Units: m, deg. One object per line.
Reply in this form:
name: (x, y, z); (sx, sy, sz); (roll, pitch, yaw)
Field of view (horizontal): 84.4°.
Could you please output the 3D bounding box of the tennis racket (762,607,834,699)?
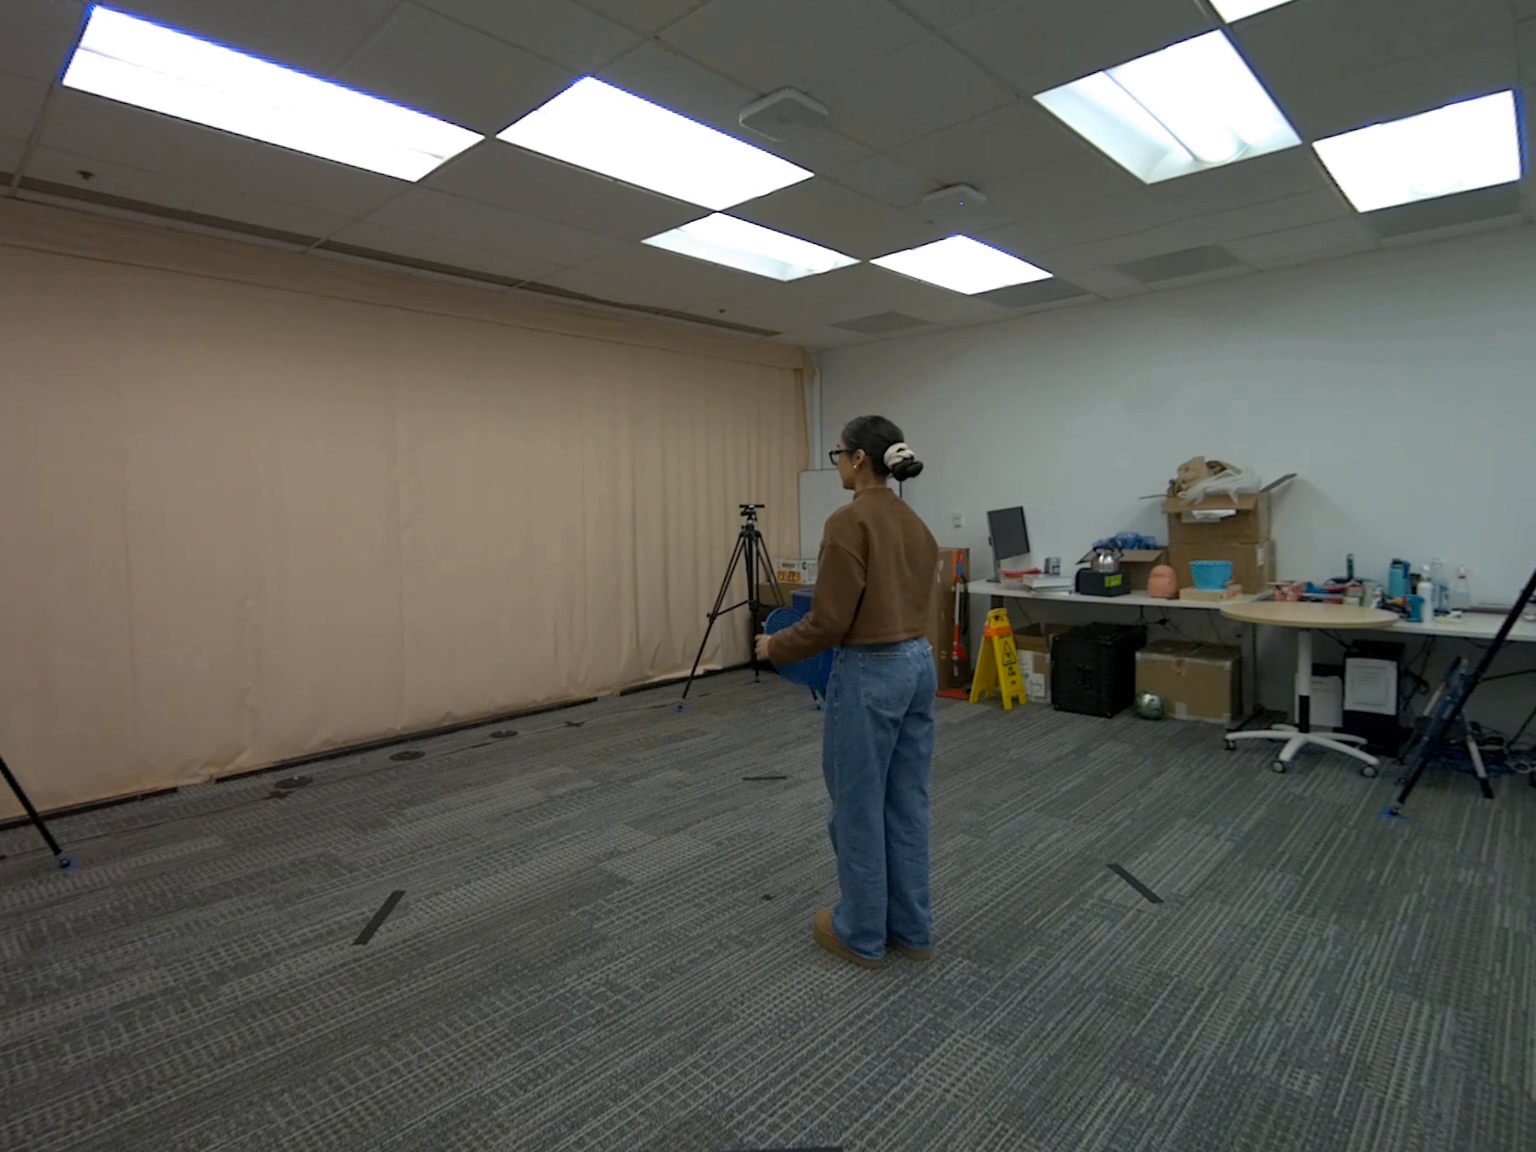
tennis racket: (0.137, 0.297, 2.731); (0.211, 0.426, 0.032); (-41, 16, -30)
